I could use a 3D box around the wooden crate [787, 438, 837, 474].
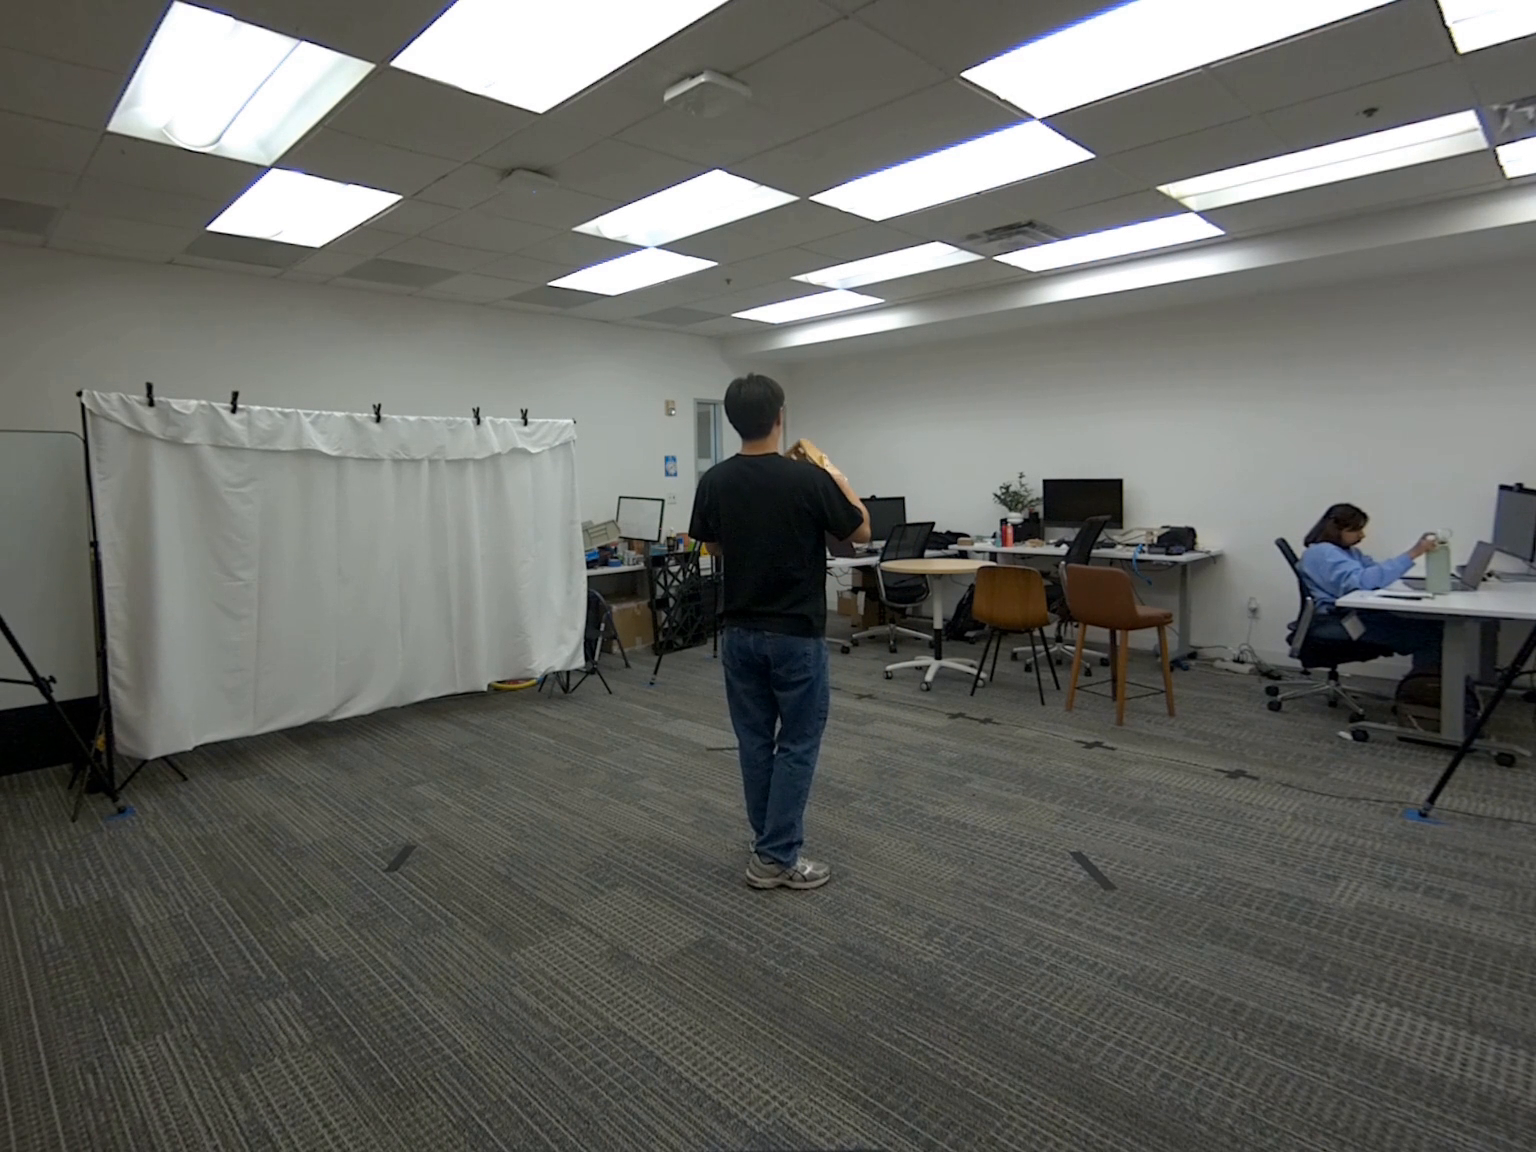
[{"bbox_3d":[0.115,-0.301,3.311,0.325,0.299,0.275,-41,9,33],"label":"wooden crate"}]
